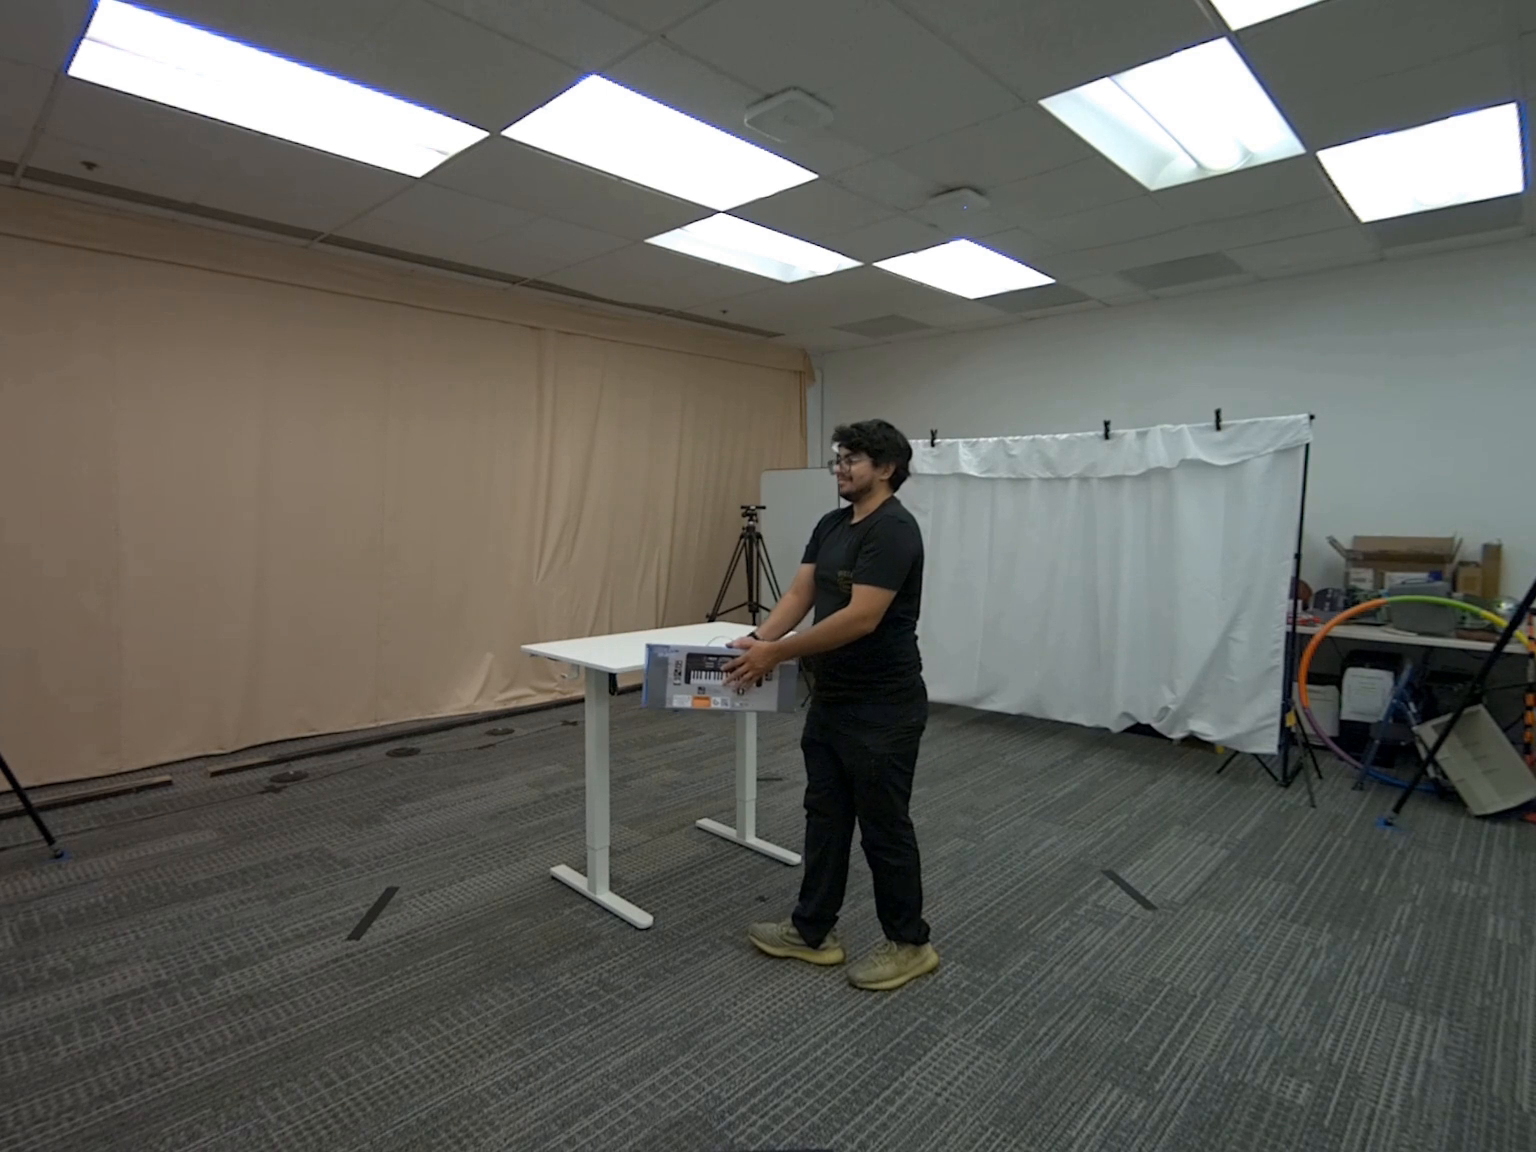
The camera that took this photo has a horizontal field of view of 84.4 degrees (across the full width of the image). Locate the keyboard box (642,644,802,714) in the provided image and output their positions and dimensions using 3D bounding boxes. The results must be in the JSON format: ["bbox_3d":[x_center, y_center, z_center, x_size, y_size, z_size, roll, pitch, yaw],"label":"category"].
[{"bbox_3d":[-0.126,0.295,2.371,0.430,0.176,0.060,4,-1,-15],"label":"keyboard box"}]
